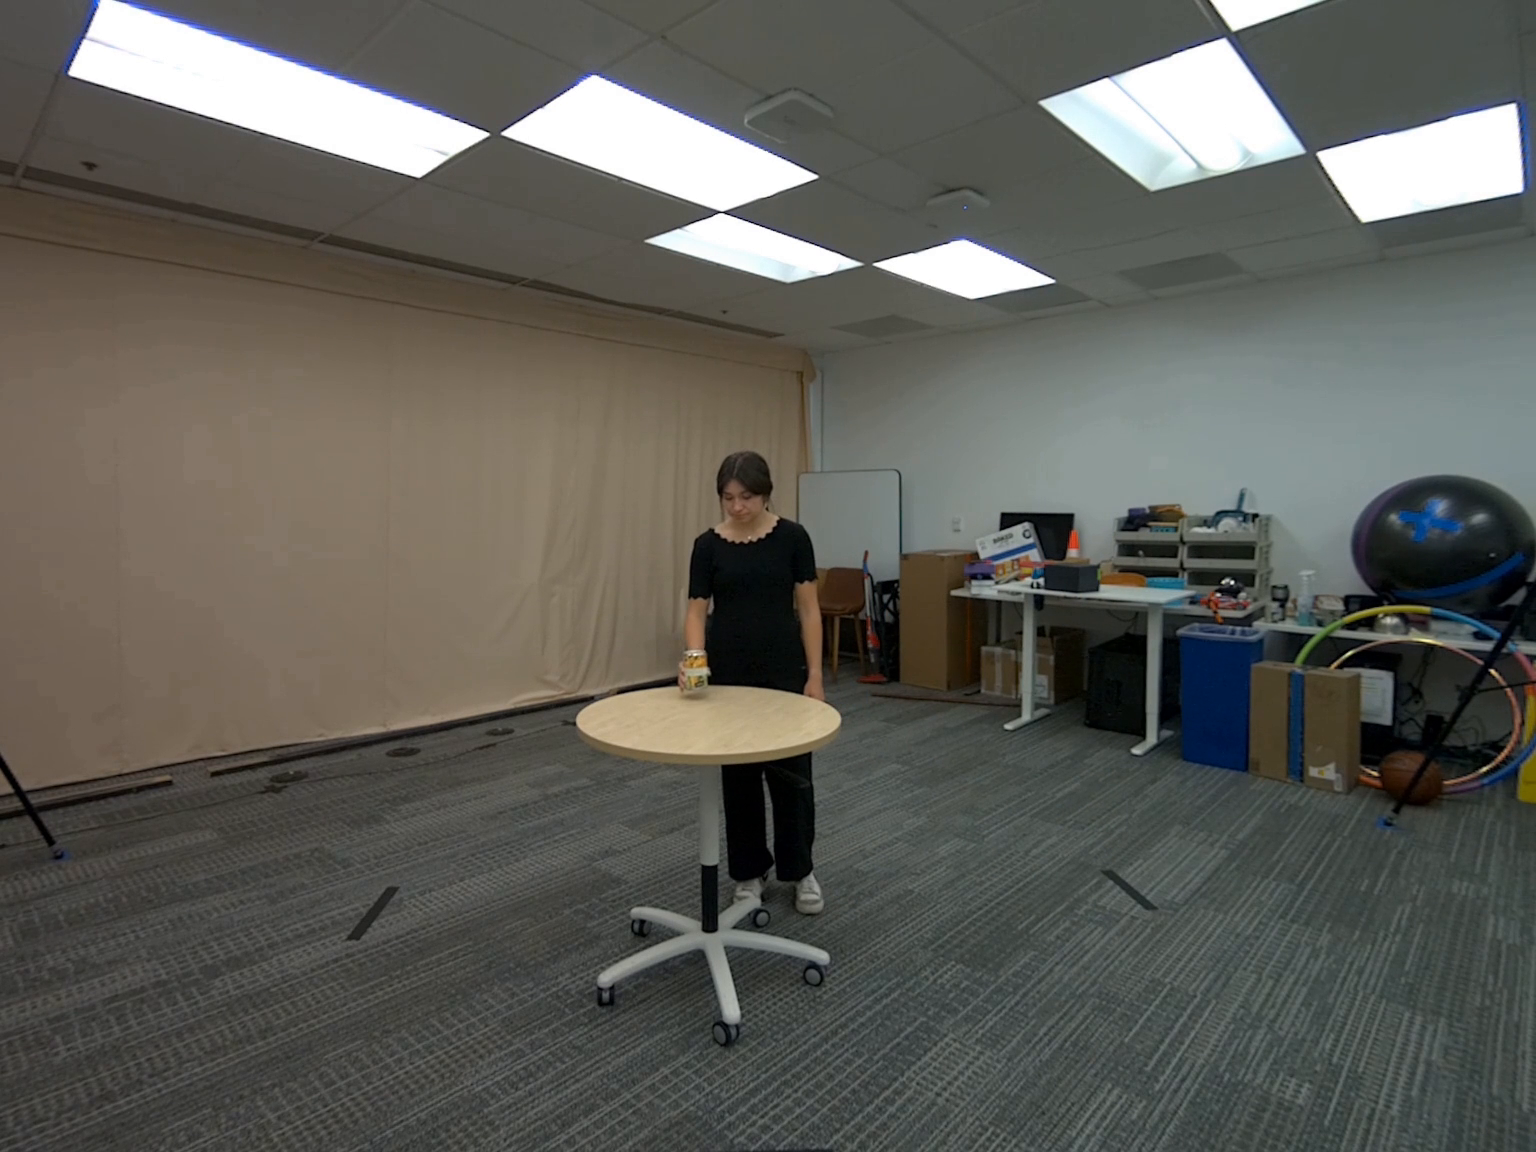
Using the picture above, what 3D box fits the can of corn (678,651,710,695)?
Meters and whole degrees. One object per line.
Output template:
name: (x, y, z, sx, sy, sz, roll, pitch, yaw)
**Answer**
can of corn: (-0.227, 0.295, 2.647, 0.074, 0.111, 0.074, -3, 3, -2)
